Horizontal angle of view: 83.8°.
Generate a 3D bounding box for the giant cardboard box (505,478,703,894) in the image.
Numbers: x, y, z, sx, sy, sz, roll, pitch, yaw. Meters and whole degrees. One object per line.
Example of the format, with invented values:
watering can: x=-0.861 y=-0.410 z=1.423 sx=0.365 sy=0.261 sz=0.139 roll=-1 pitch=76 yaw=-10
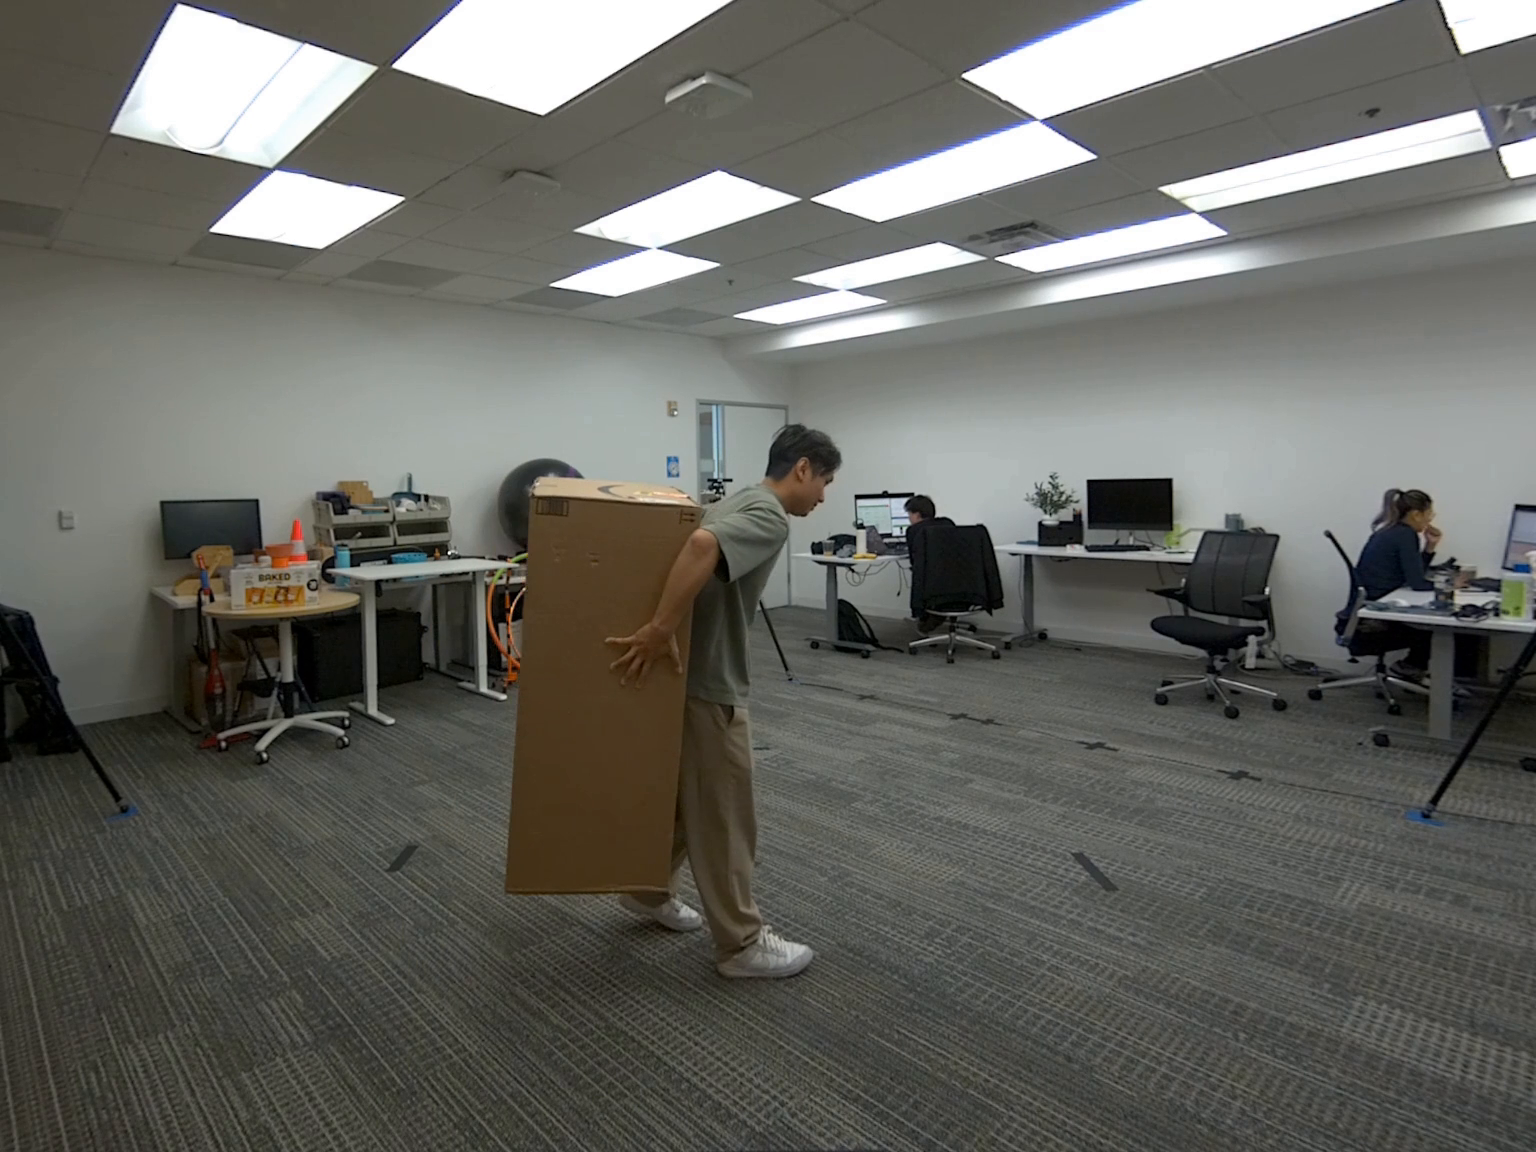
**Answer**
giant cardboard box: x=-0.485 y=0.267 z=2.411 sx=0.422 sy=1.020 sz=0.587 roll=4 pitch=7 yaw=-11
